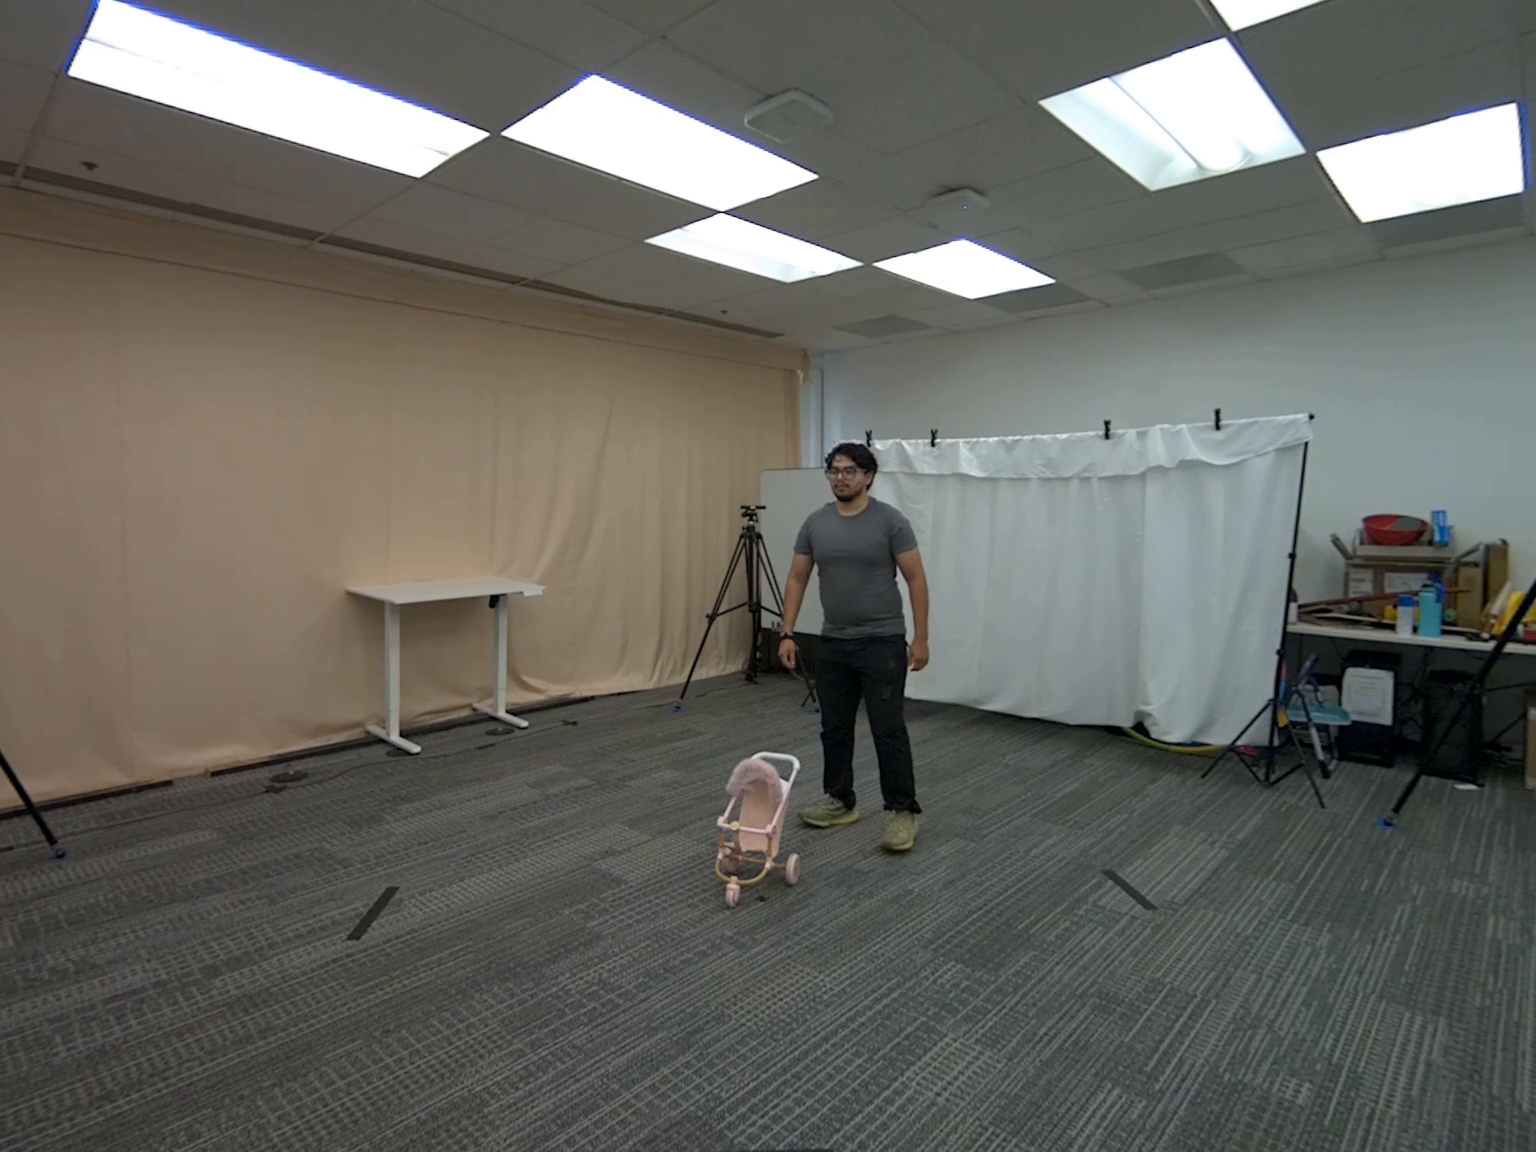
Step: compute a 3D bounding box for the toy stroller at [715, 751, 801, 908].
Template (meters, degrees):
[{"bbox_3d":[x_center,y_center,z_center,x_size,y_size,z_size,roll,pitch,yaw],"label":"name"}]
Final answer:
[{"bbox_3d":[-0.048,0.911,3.084,0.289,0.538,0.330,1,-13,29],"label":"toy stroller"}]
